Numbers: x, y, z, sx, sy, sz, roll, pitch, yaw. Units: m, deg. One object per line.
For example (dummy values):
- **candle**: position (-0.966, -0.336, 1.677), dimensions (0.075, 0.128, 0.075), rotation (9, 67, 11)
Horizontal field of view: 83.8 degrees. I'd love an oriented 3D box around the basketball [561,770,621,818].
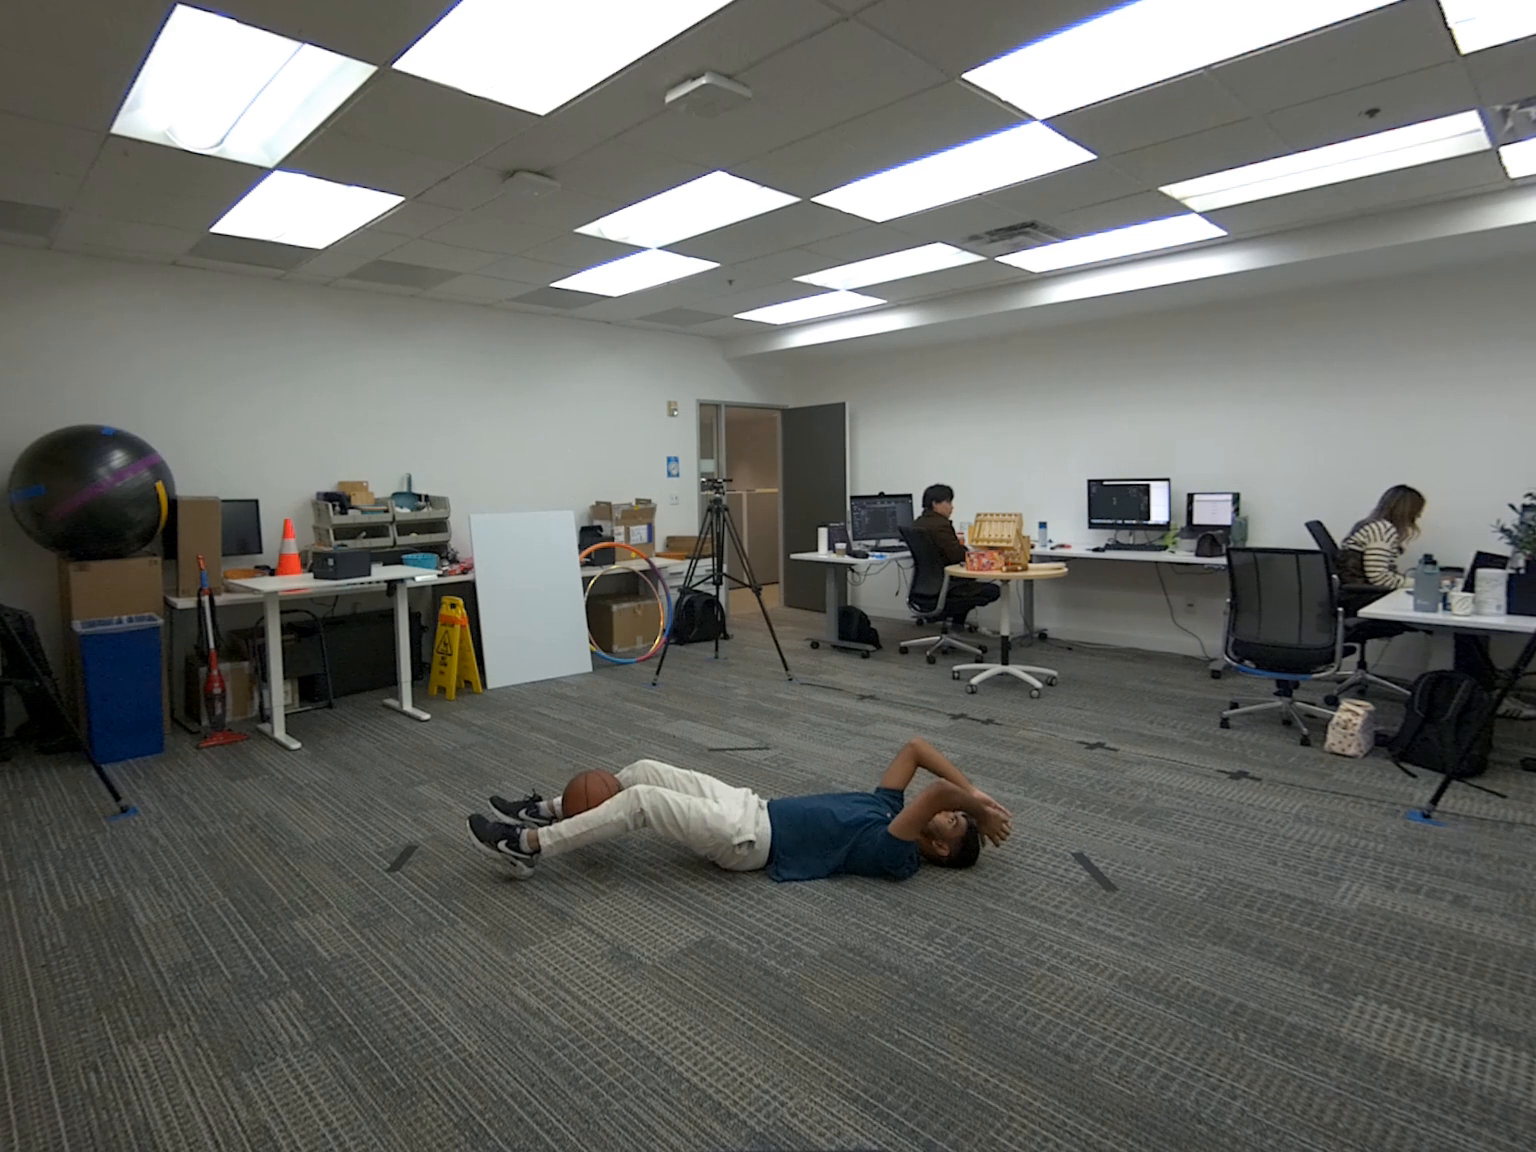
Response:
- **basketball**: position (-0.652, 0.835, 3.163), dimensions (0.236, 0.235, 0.237), rotation (-1, 5, -2)
